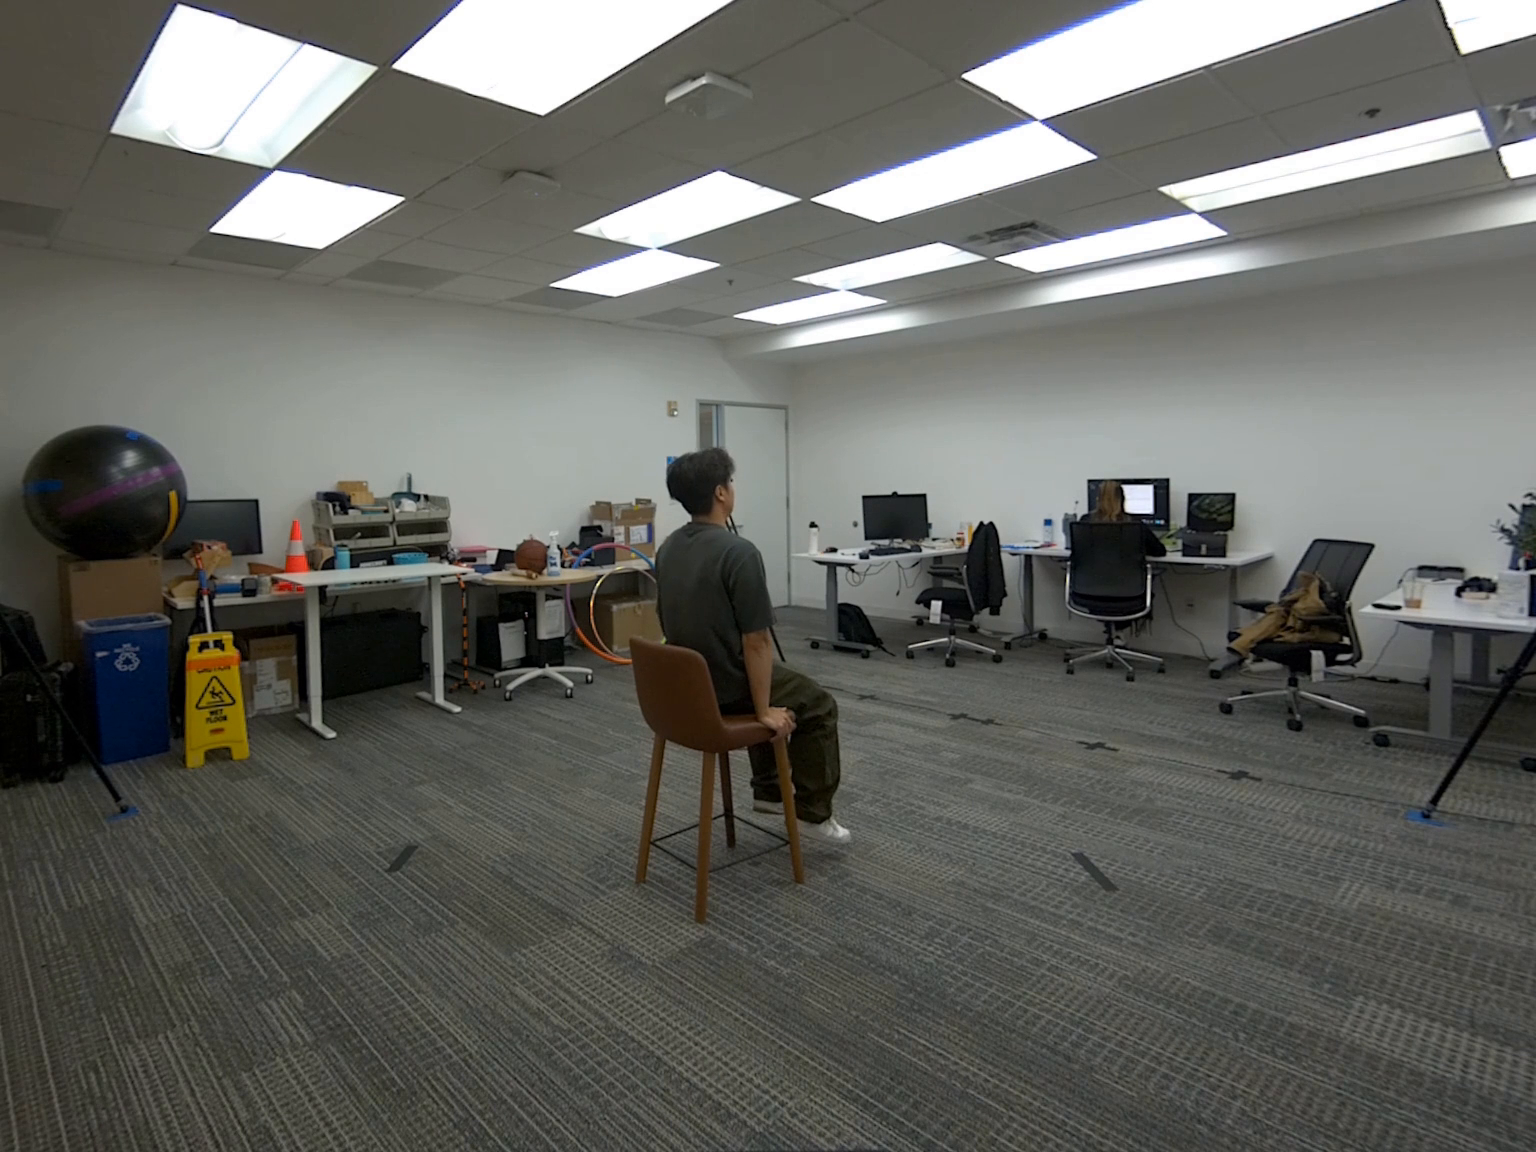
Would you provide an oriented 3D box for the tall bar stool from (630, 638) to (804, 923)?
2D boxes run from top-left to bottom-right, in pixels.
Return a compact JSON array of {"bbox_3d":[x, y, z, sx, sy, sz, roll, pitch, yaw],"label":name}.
[{"bbox_3d":[-0.186,0.630,2.936,0.456,0.885,0.470,-7,7,-40],"label":"tall bar stool"}]
